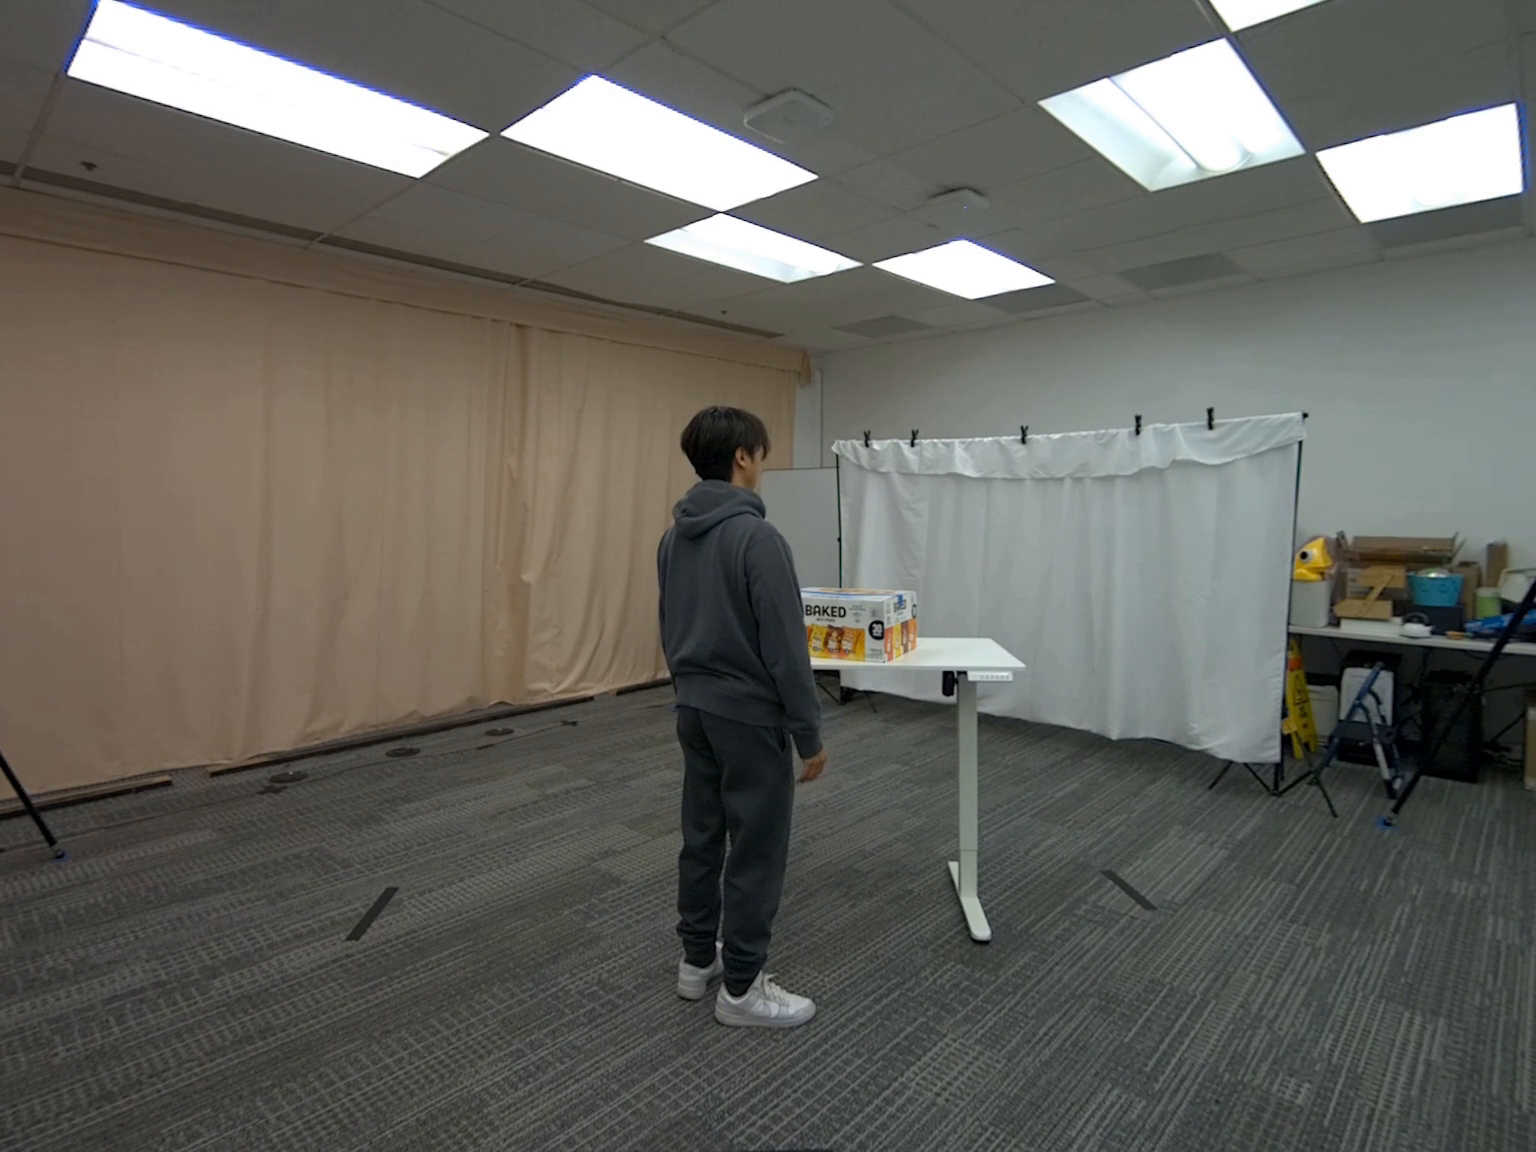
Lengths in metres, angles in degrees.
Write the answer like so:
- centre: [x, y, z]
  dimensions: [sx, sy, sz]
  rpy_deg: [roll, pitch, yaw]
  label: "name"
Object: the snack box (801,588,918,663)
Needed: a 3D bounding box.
- centre: [0.273, 0.163, 2.940]
  dimensions: [0.416, 0.205, 0.331]
  rpy_deg: [1, 4, 29]
  label: "snack box"
